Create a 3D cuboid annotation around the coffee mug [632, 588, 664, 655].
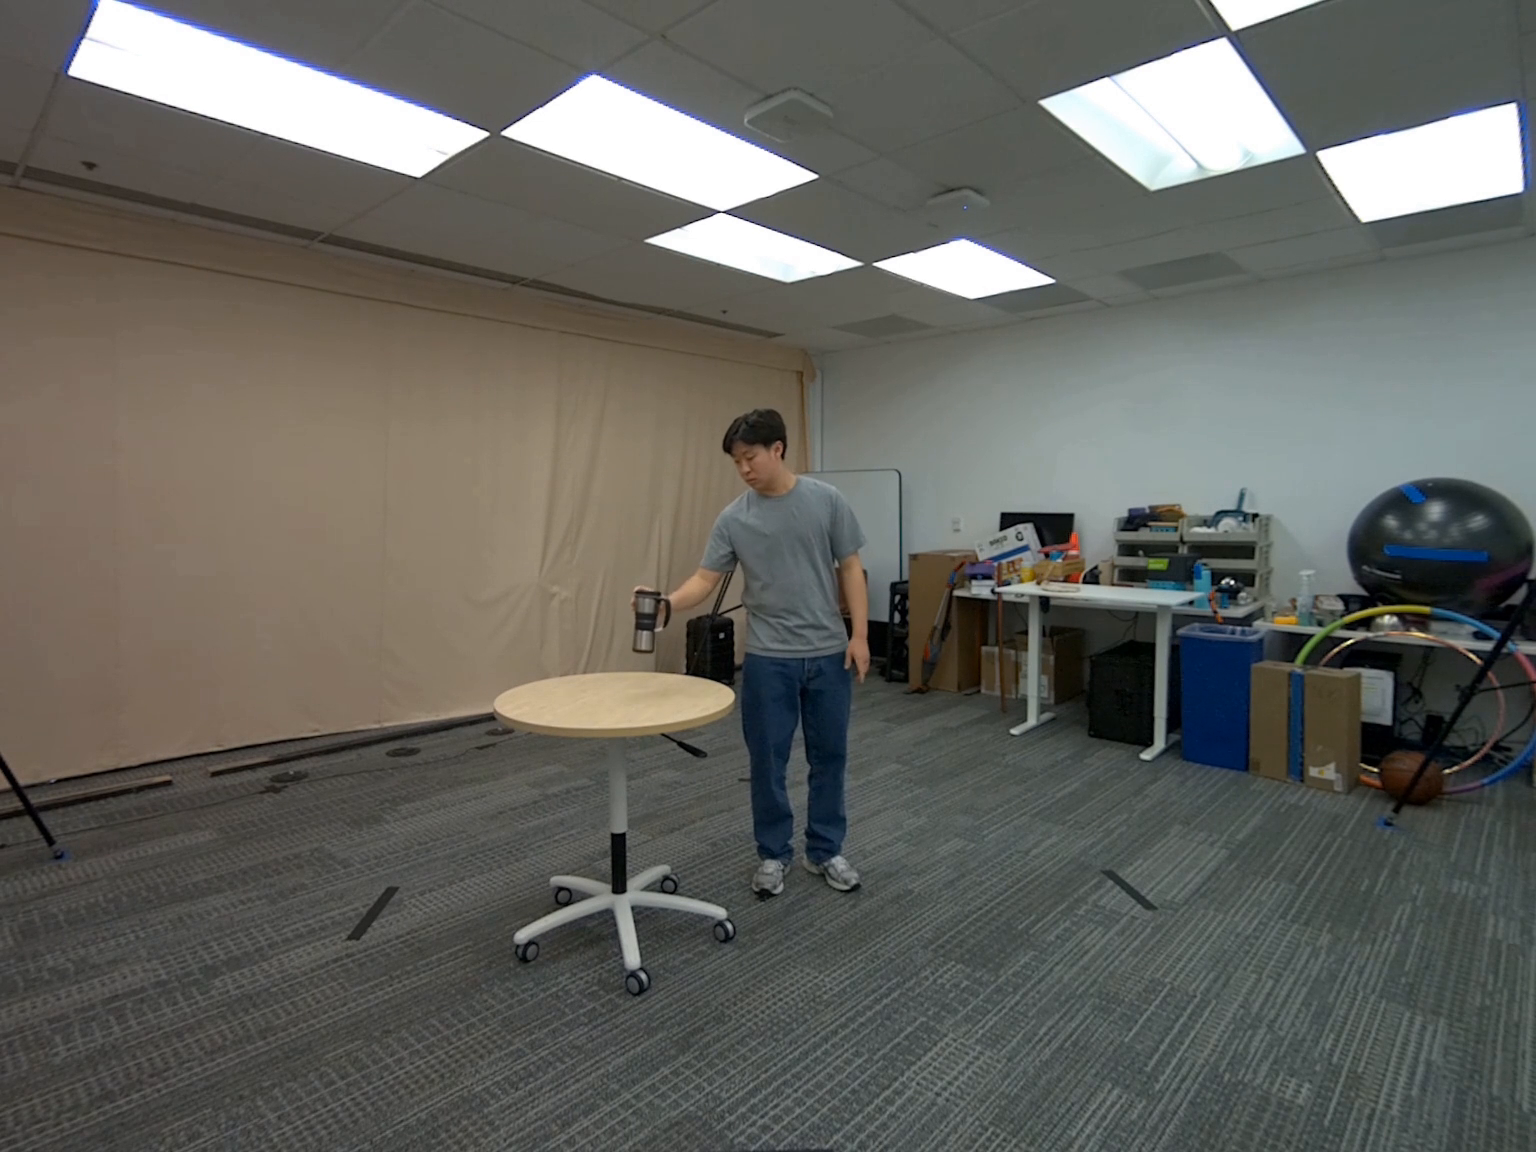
[{"bbox_3d":[-0.373,0.146,2.741,0.085,0.203,0.126,8,-4,-42],"label":"coffee mug"}]
